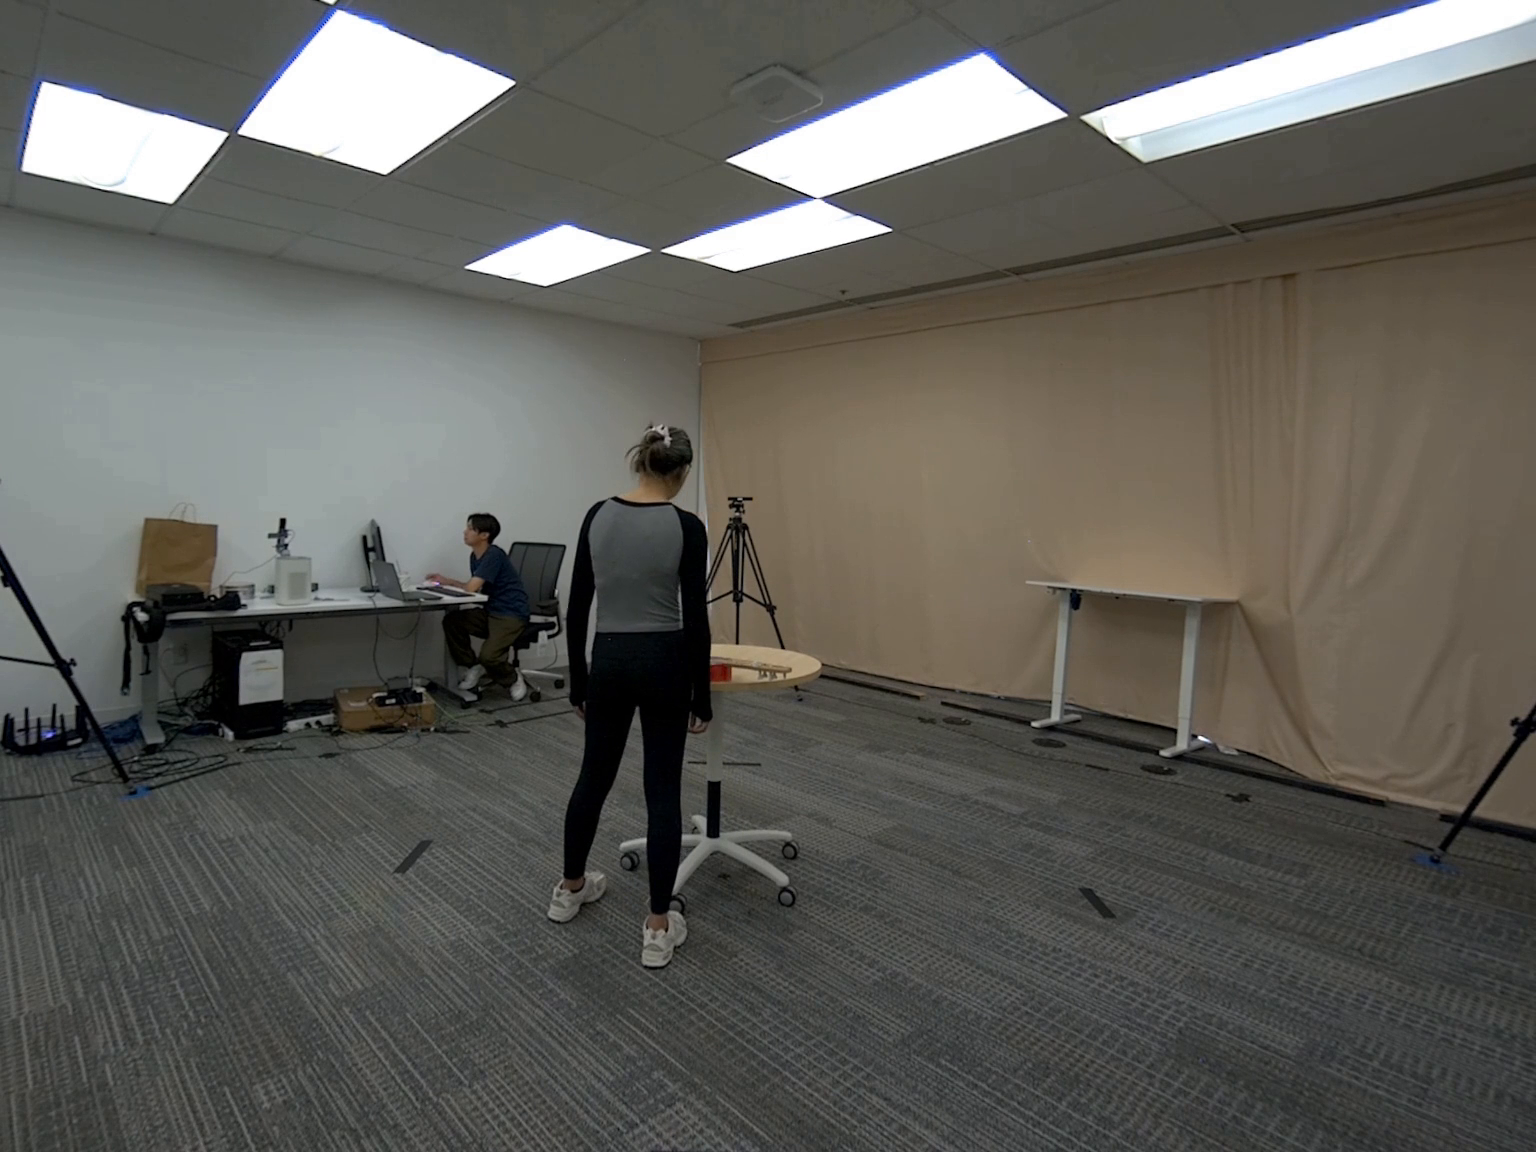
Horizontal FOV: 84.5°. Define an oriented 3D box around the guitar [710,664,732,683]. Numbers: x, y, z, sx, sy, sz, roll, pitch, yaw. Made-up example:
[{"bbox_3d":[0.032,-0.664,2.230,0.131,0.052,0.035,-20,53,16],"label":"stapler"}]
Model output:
[{"bbox_3d":[-0.170,0.314,2.736,0.510,0.070,0.188,5,5,40],"label":"guitar"}]
